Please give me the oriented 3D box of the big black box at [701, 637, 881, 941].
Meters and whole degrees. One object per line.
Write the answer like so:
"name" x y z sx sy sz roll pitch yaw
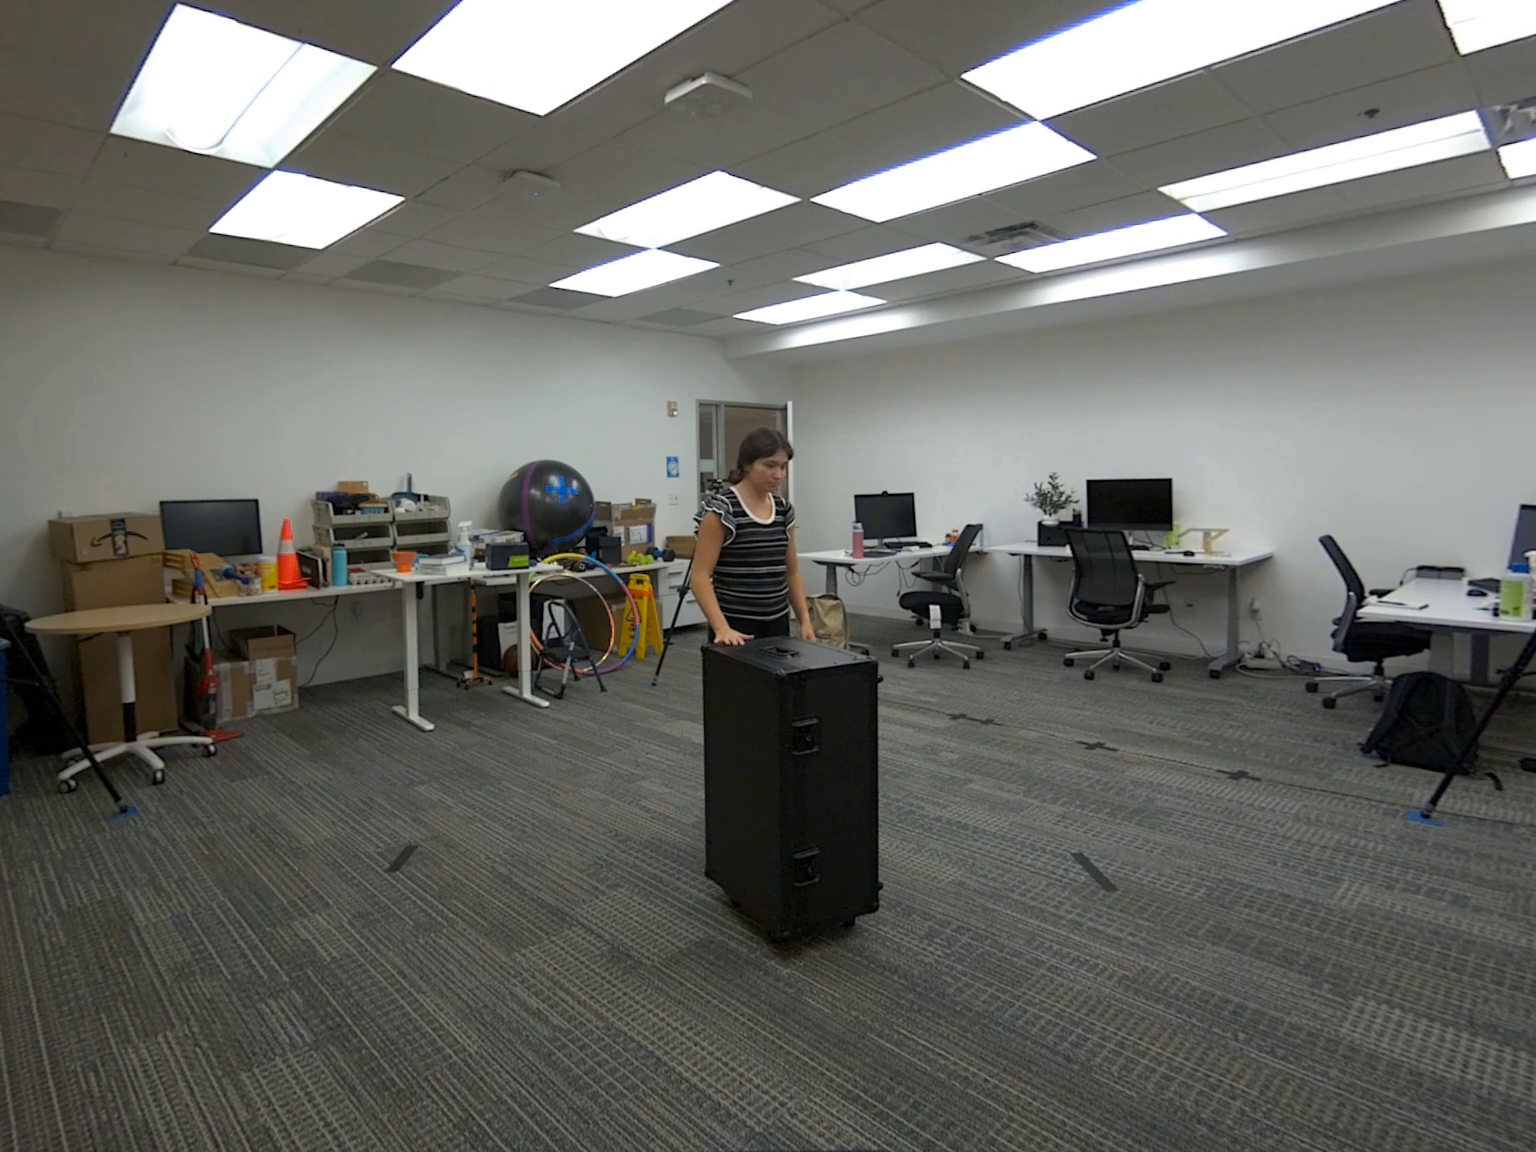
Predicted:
"big black box" 0.070 0.666 2.720 0.387 0.859 0.535 -2 4 -30
